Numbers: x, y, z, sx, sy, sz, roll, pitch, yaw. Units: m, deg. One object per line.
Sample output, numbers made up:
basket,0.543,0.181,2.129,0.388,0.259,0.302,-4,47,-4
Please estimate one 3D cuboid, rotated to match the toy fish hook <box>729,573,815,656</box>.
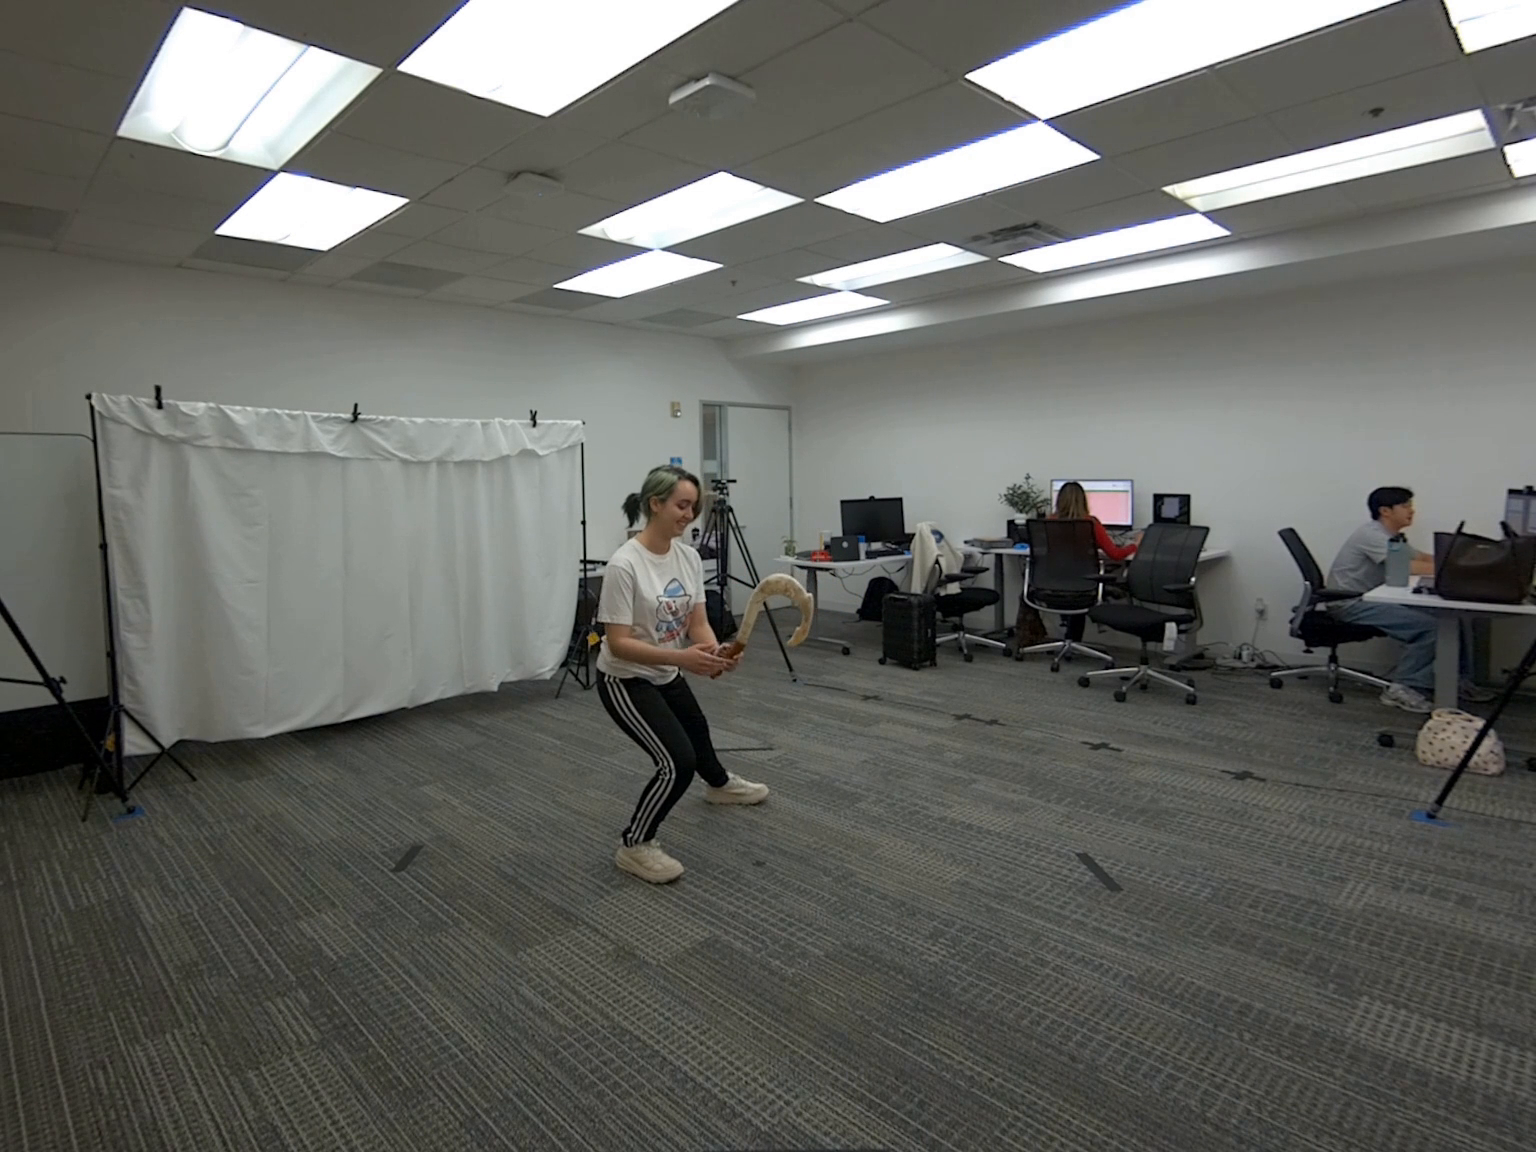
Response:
toy fish hook,-0.030,0.205,2.815,0.229,0.504,0.047,46,31,16
